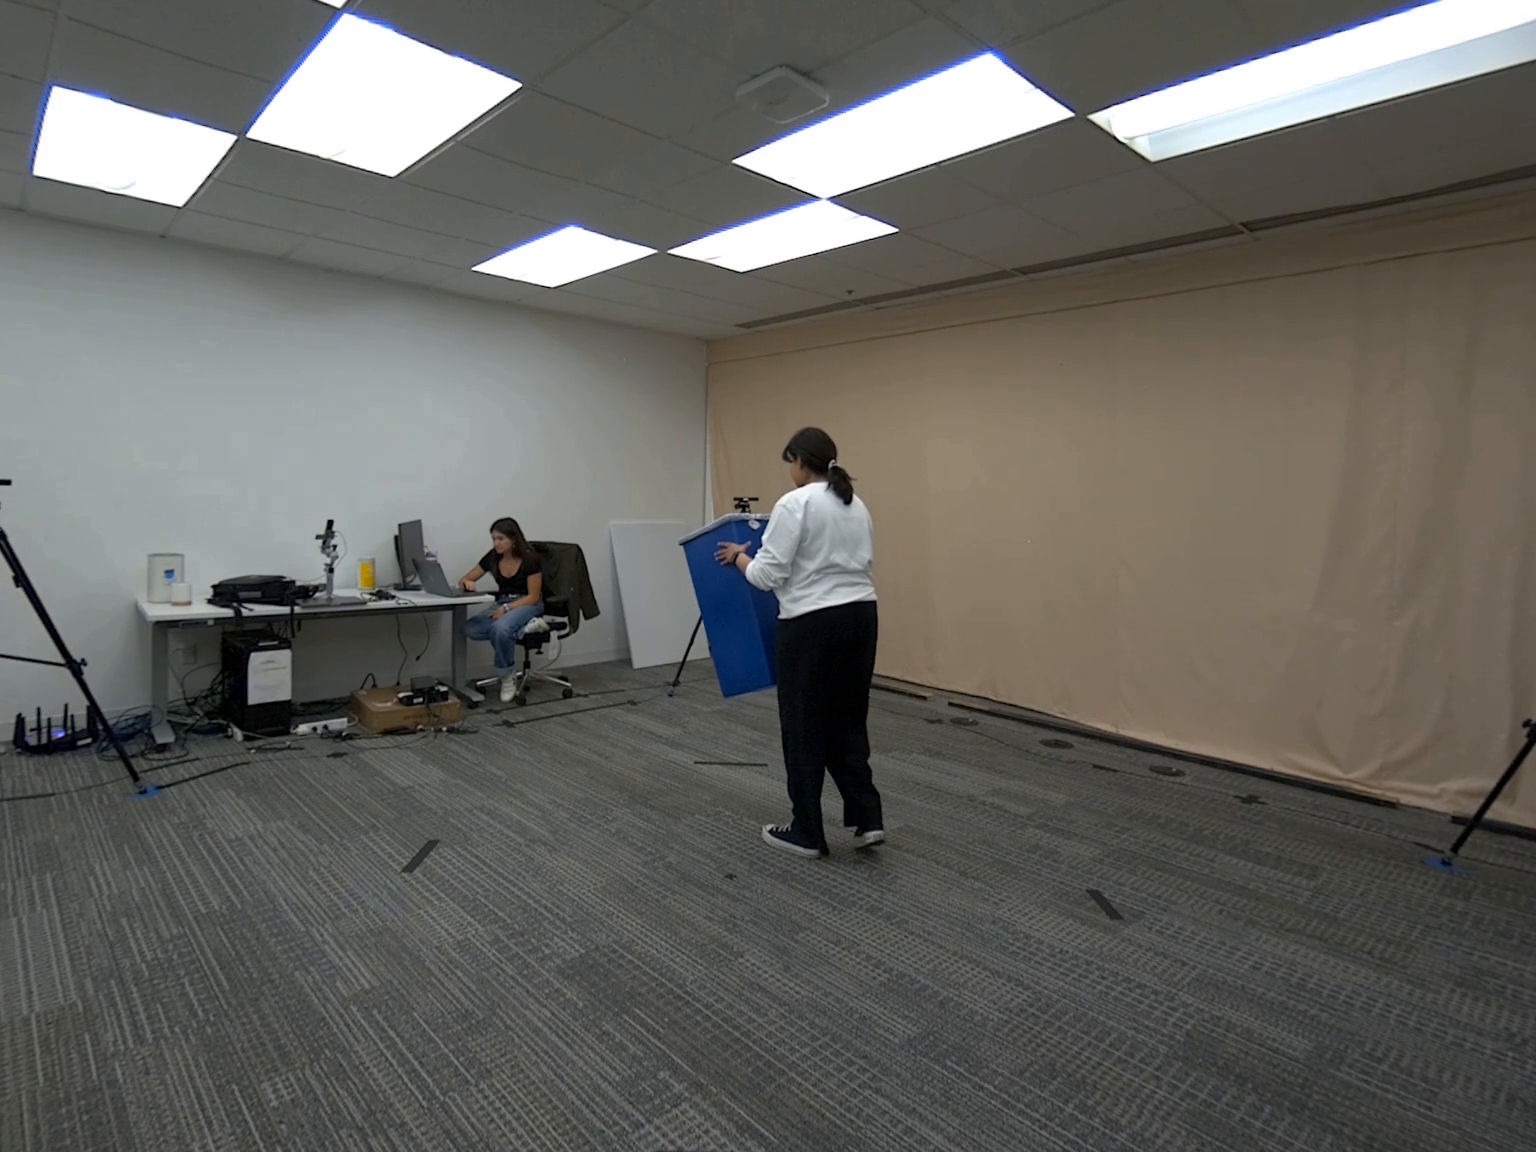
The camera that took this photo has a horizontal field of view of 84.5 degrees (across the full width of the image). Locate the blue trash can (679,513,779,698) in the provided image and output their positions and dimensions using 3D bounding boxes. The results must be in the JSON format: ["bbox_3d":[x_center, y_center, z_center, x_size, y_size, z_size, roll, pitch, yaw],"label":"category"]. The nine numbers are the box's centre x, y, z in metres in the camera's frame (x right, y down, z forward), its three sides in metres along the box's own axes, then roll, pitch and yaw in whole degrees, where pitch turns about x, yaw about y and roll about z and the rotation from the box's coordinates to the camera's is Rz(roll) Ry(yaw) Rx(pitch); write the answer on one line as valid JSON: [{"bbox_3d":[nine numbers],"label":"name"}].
[{"bbox_3d":[-0.083,0.131,3.636,0.379,0.721,0.369,-23,-15,41],"label":"blue trash can"}]
